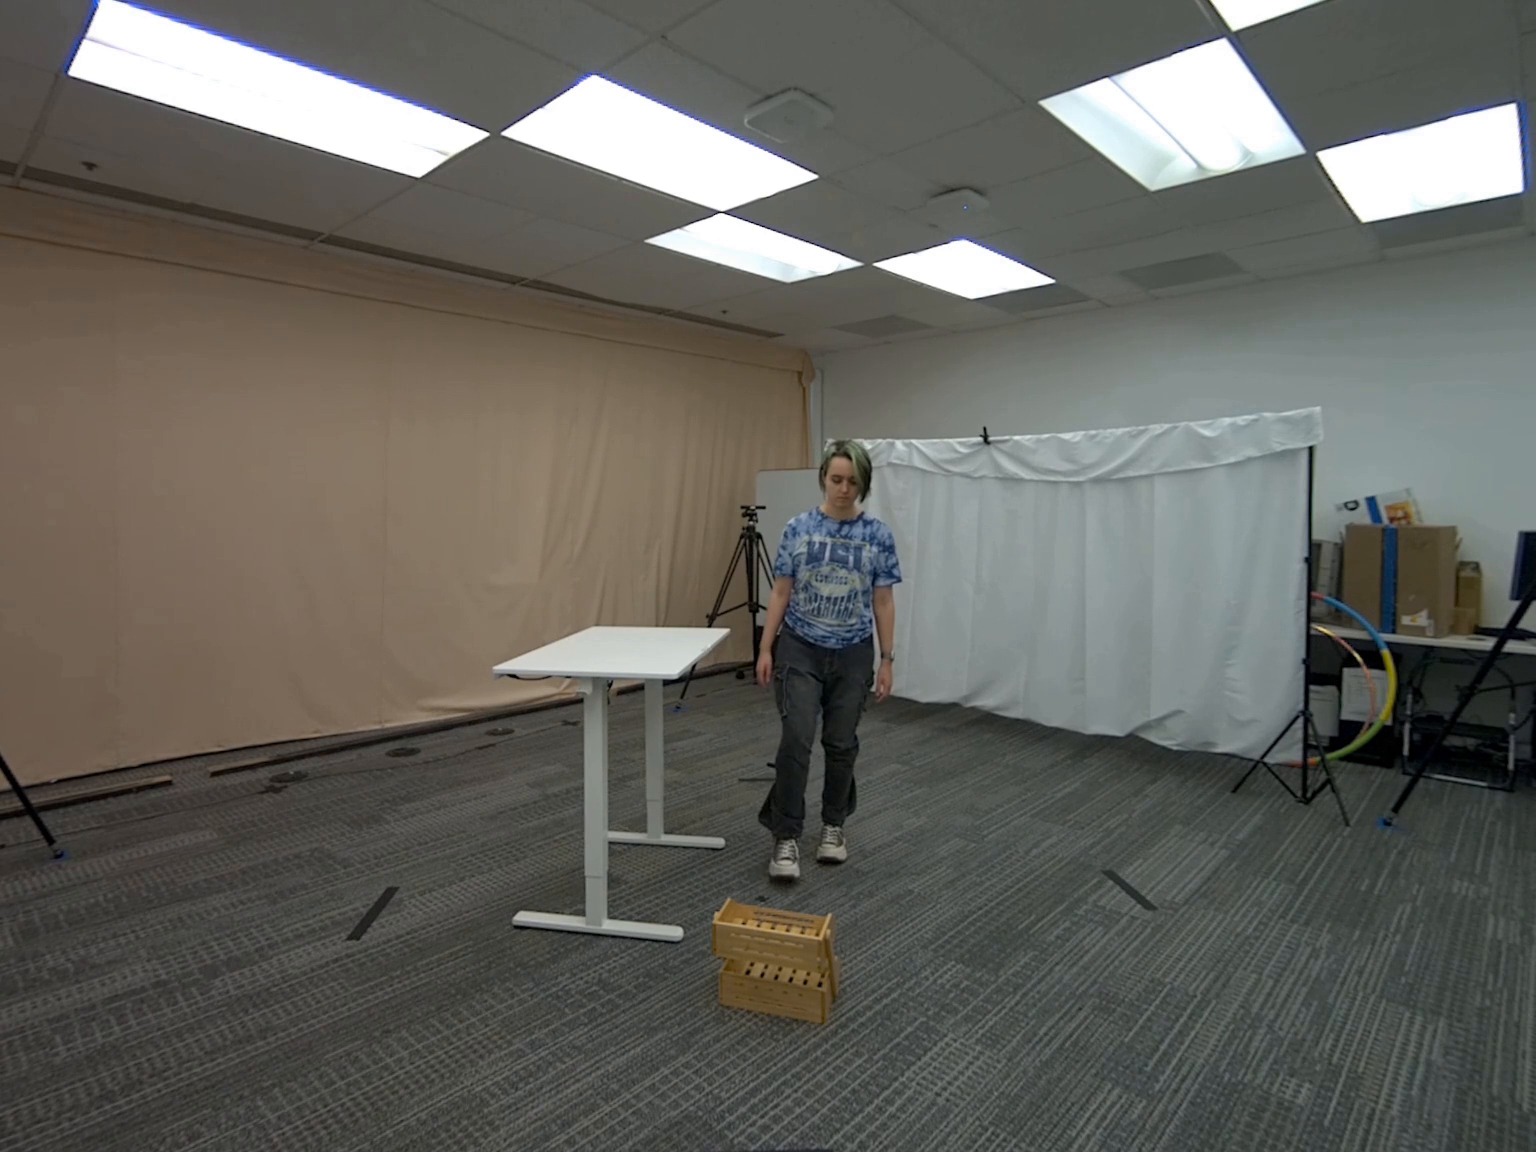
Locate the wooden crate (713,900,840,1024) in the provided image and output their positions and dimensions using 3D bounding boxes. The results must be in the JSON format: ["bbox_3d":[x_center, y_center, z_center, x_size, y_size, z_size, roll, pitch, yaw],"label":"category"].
[{"bbox_3d":[0.032,1.062,2.389,0.330,0.272,0.297,1,4,16],"label":"wooden crate"}]
